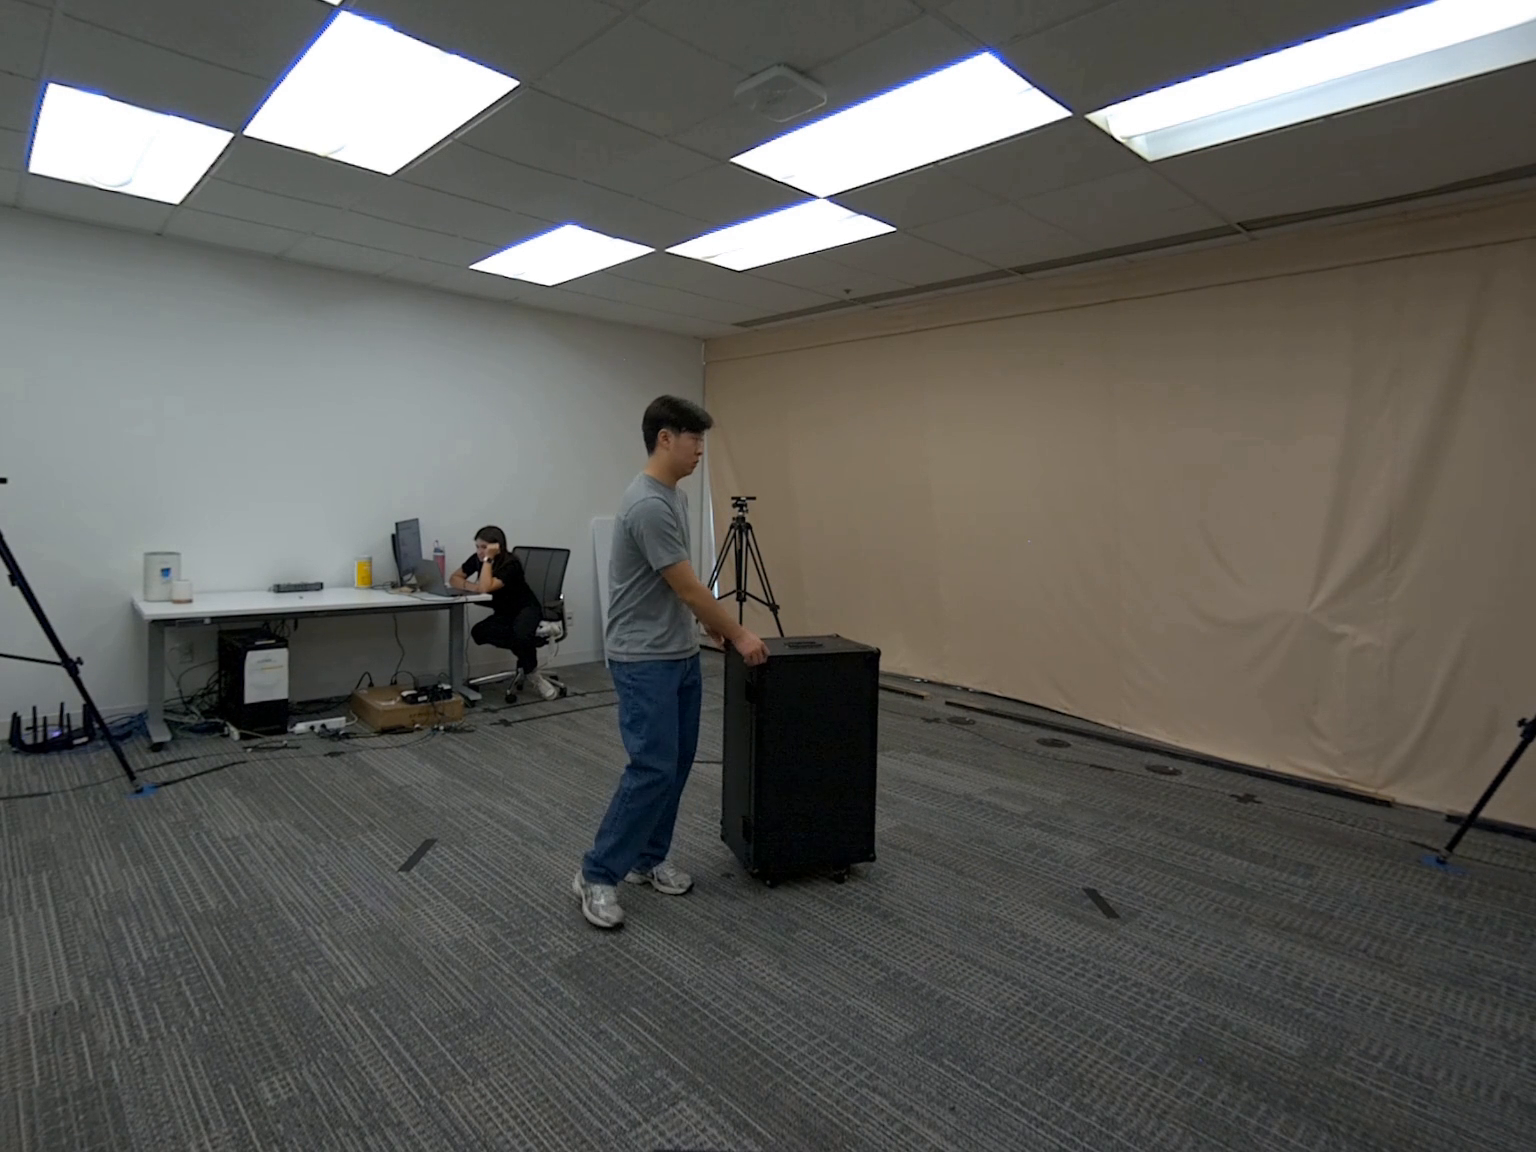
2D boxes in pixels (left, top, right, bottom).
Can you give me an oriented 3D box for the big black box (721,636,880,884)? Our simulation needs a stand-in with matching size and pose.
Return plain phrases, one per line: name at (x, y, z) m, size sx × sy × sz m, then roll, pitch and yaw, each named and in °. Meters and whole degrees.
big black box at (0.096, 0.683, 3.159) m, size 0.514 × 0.860 × 0.403 m, roll 0°, pitch 3°, yaw -19°
